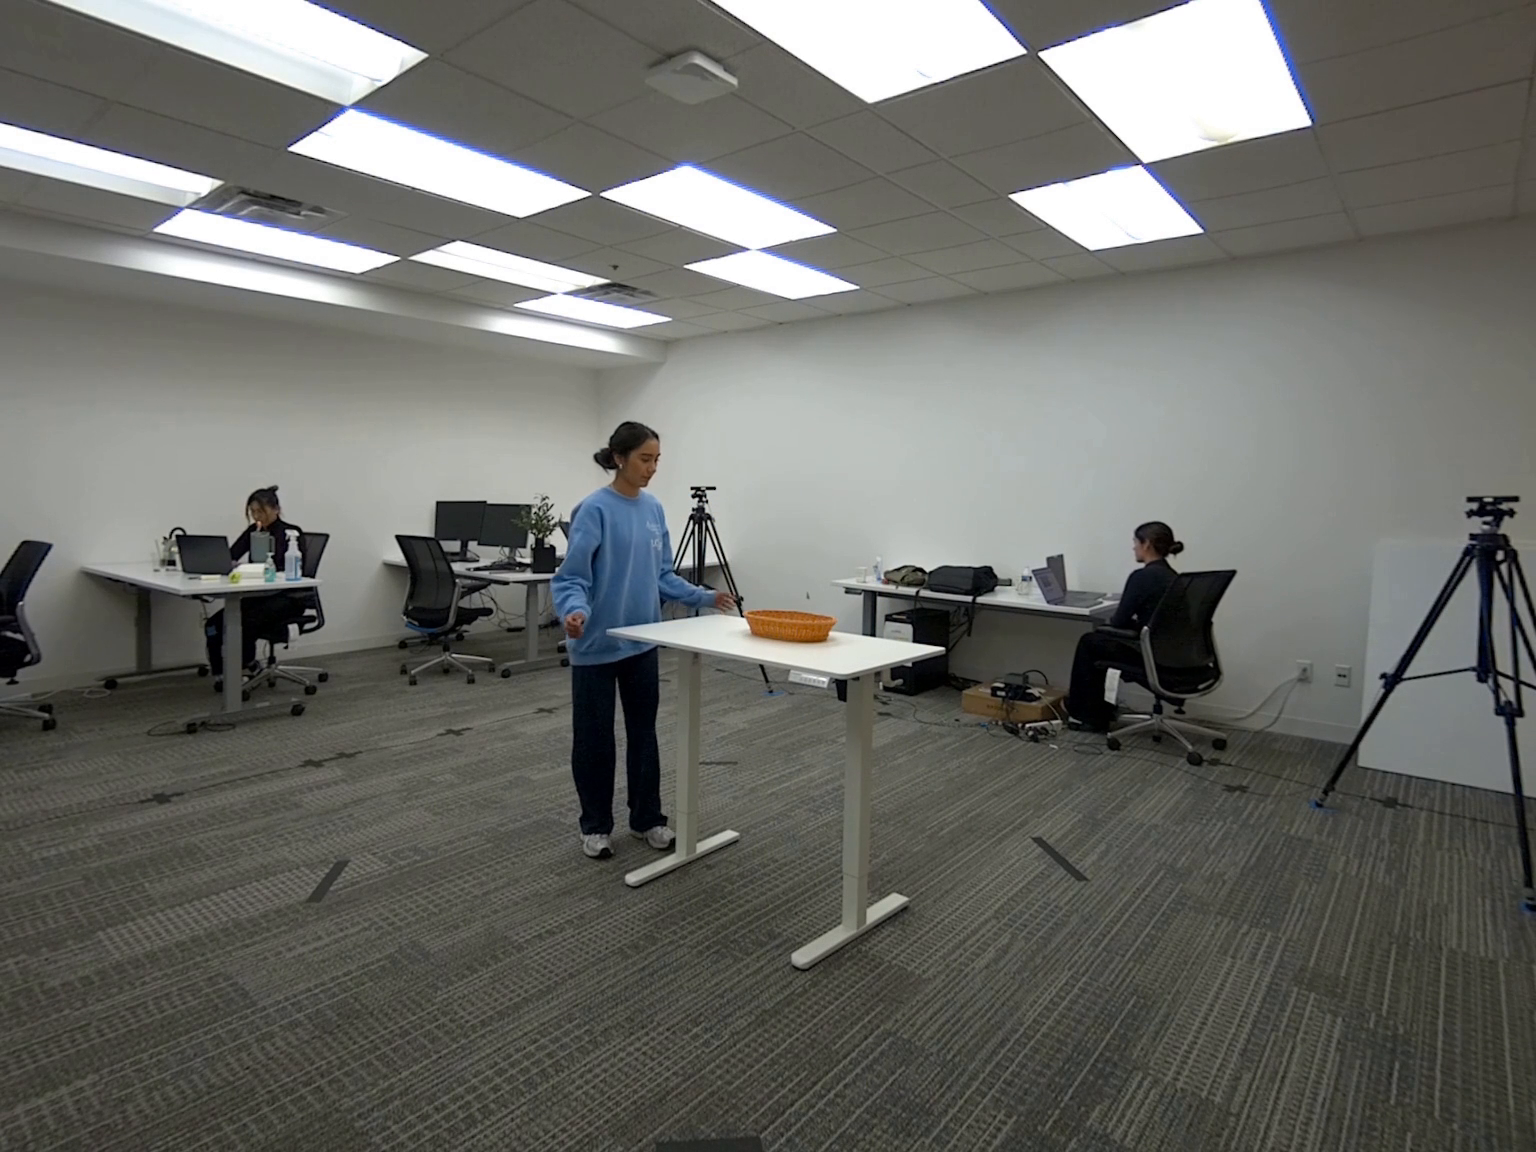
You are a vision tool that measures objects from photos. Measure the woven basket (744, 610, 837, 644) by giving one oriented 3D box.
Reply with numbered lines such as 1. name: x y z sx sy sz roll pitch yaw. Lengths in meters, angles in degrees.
1. woven basket: 0.070 0.176 2.945 0.362 0.073 0.245 6 6 42
